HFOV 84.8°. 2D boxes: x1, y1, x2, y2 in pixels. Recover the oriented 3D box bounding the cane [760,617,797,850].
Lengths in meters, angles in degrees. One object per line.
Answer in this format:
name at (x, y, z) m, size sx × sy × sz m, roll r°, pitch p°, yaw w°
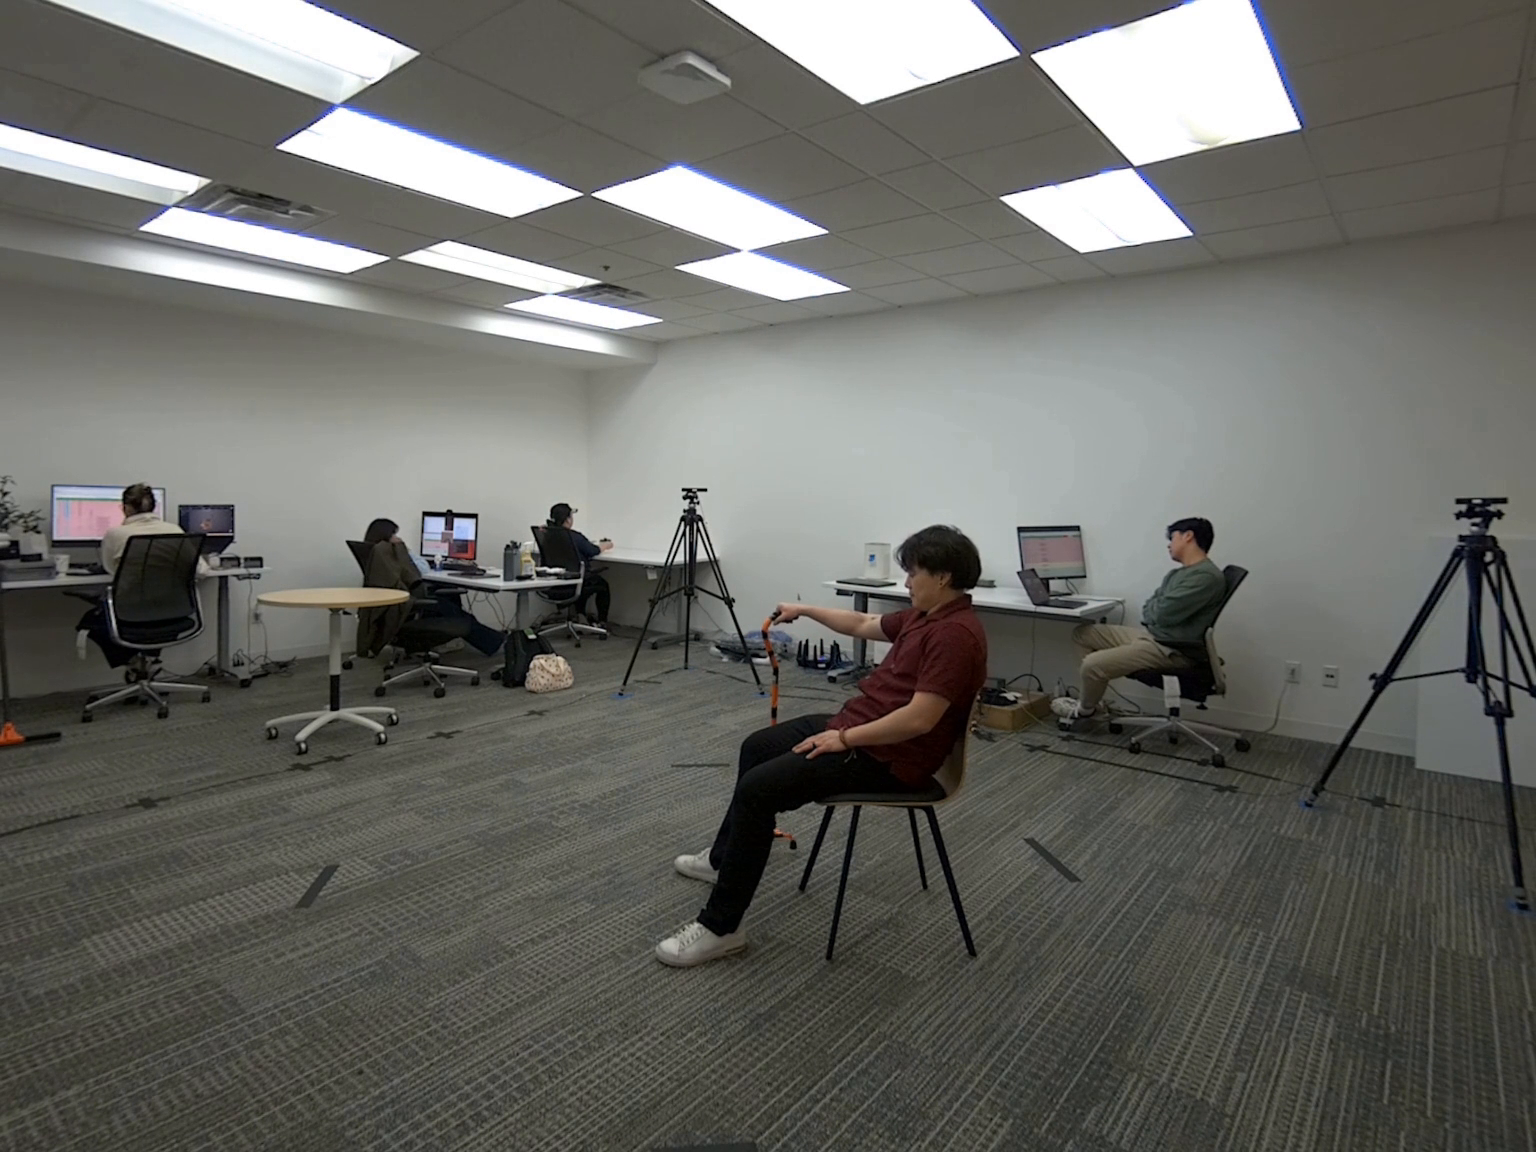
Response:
cane at (-0.003, 0.581, 3.215) m, size 0.200 × 0.904 × 0.157 m, roll -2°, pitch 6°, yaw -36°
